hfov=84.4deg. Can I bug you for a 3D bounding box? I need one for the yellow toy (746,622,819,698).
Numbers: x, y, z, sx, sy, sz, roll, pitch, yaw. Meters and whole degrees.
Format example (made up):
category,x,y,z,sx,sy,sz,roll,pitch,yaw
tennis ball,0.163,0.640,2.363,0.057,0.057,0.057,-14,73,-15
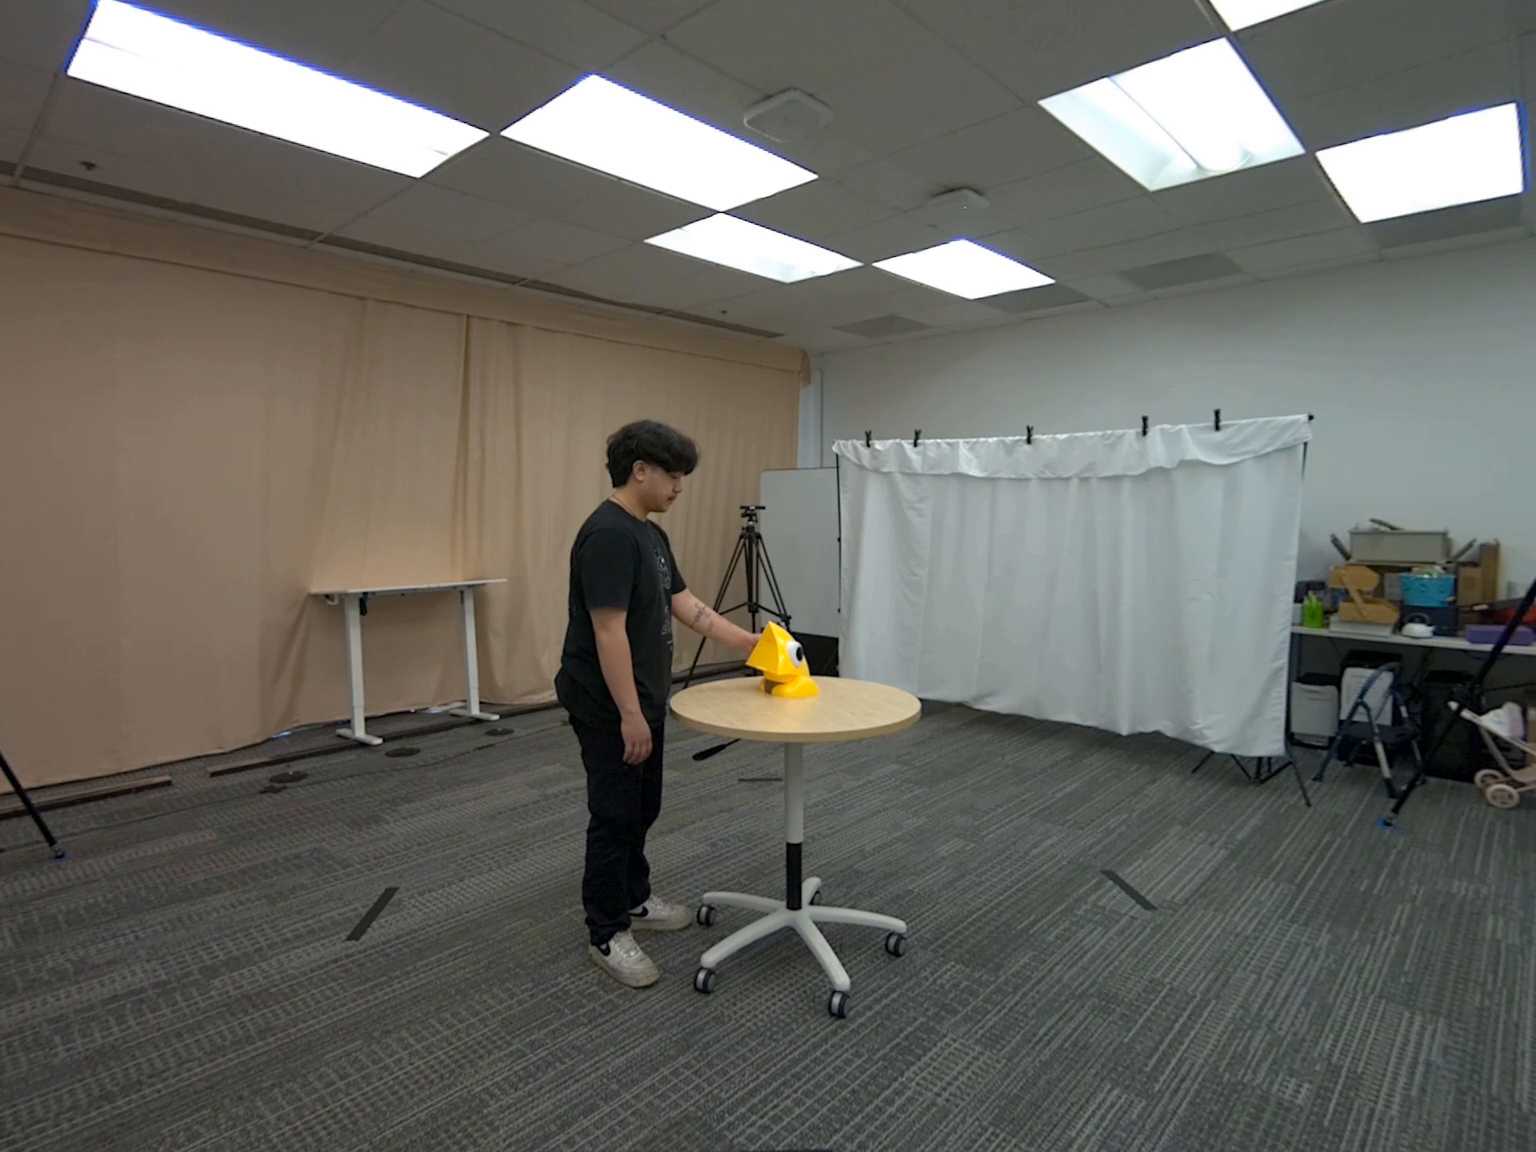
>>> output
category,x,y,z,sx,sy,sz,roll,pitch,yaw
yellow toy,0.061,0.261,2.717,0.188,0.230,0.211,-2,3,-30
